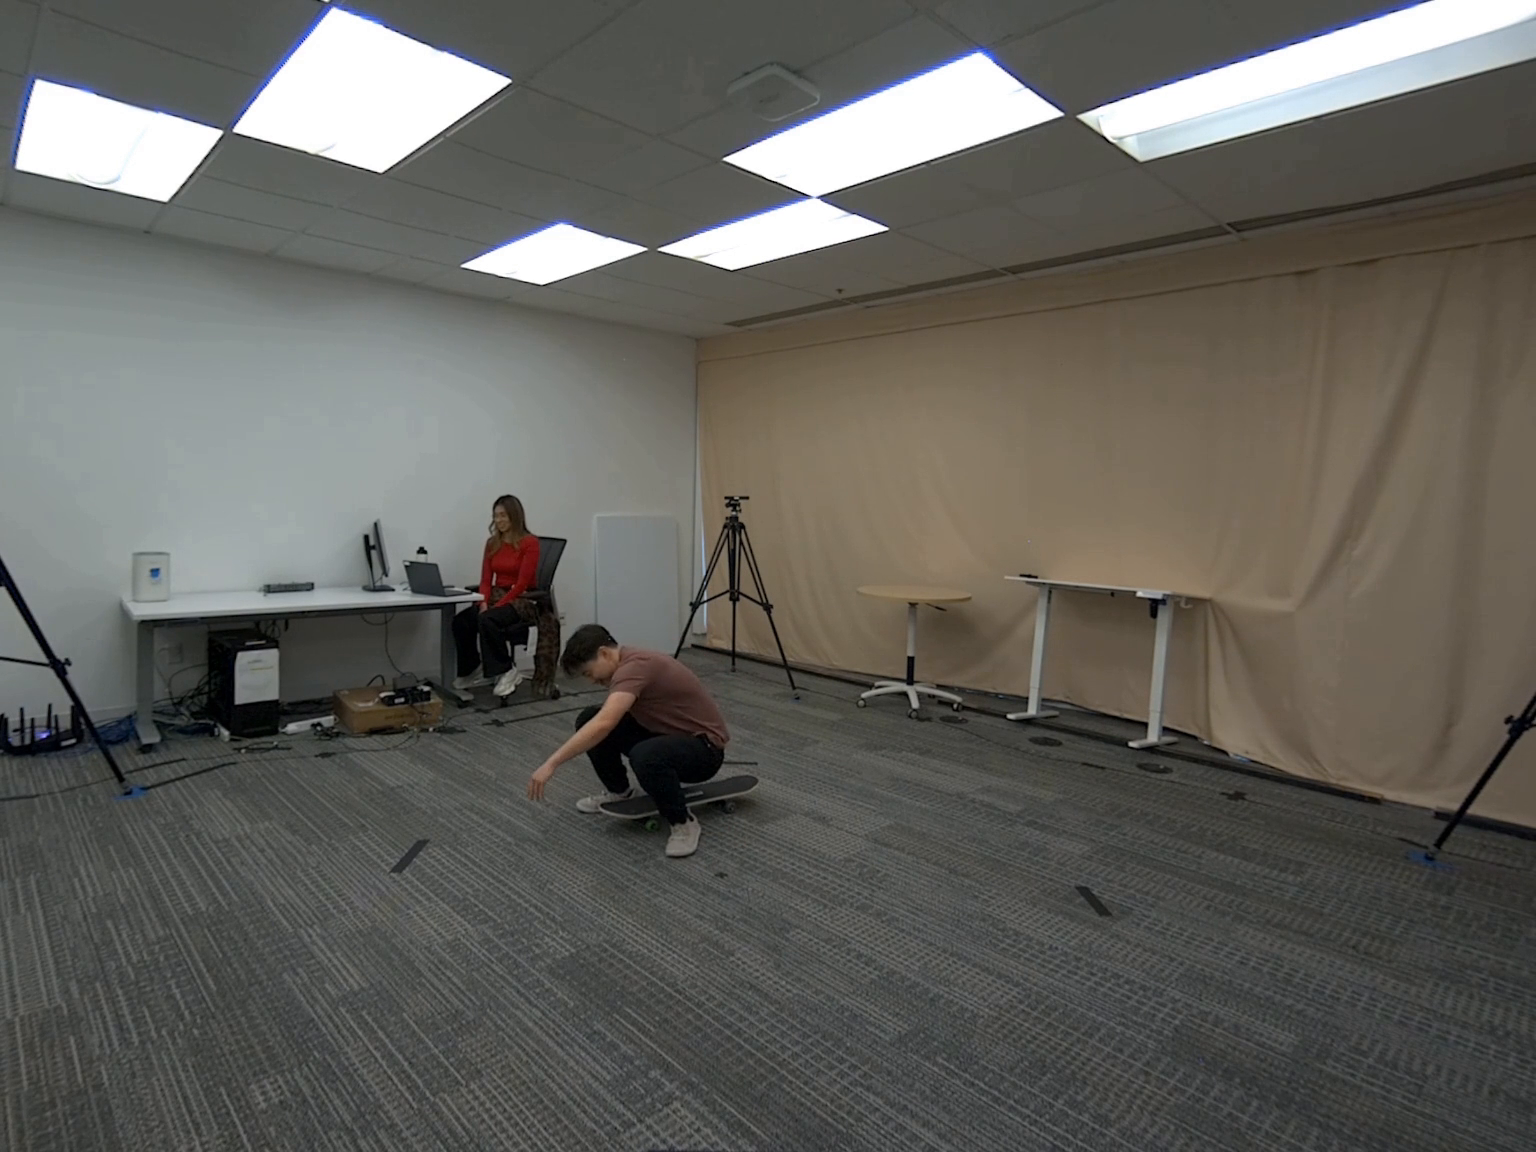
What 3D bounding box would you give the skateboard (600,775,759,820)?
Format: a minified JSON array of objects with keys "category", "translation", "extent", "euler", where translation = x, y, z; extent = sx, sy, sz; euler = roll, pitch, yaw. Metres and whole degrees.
[{"category":"skateboard","translation":[-0.389,0.995,3.671],"extent":[0.768,0.110,0.198],"euler":[-2,5,-37]}]
